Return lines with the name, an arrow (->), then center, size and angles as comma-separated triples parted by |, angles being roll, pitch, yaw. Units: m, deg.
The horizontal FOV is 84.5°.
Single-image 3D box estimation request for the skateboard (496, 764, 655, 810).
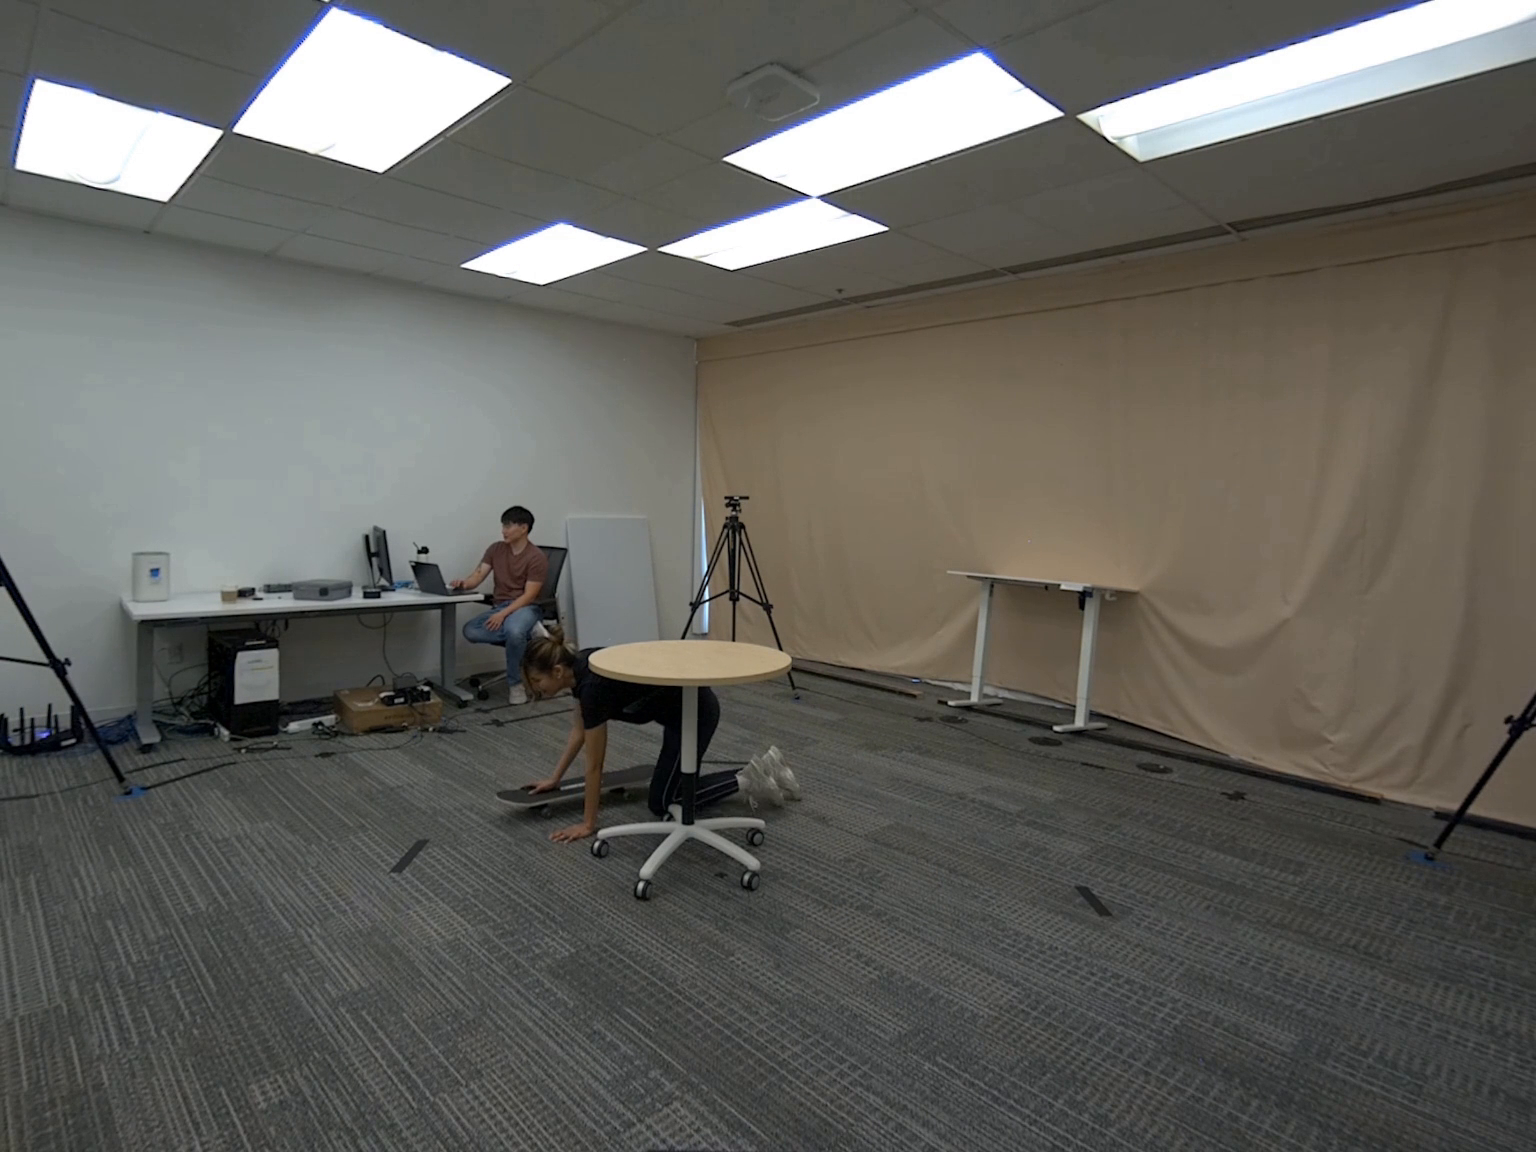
skateboard -> -0.841, 0.967, 3.788 | 0.768, 0.110, 0.198 | -2, 6, -36
